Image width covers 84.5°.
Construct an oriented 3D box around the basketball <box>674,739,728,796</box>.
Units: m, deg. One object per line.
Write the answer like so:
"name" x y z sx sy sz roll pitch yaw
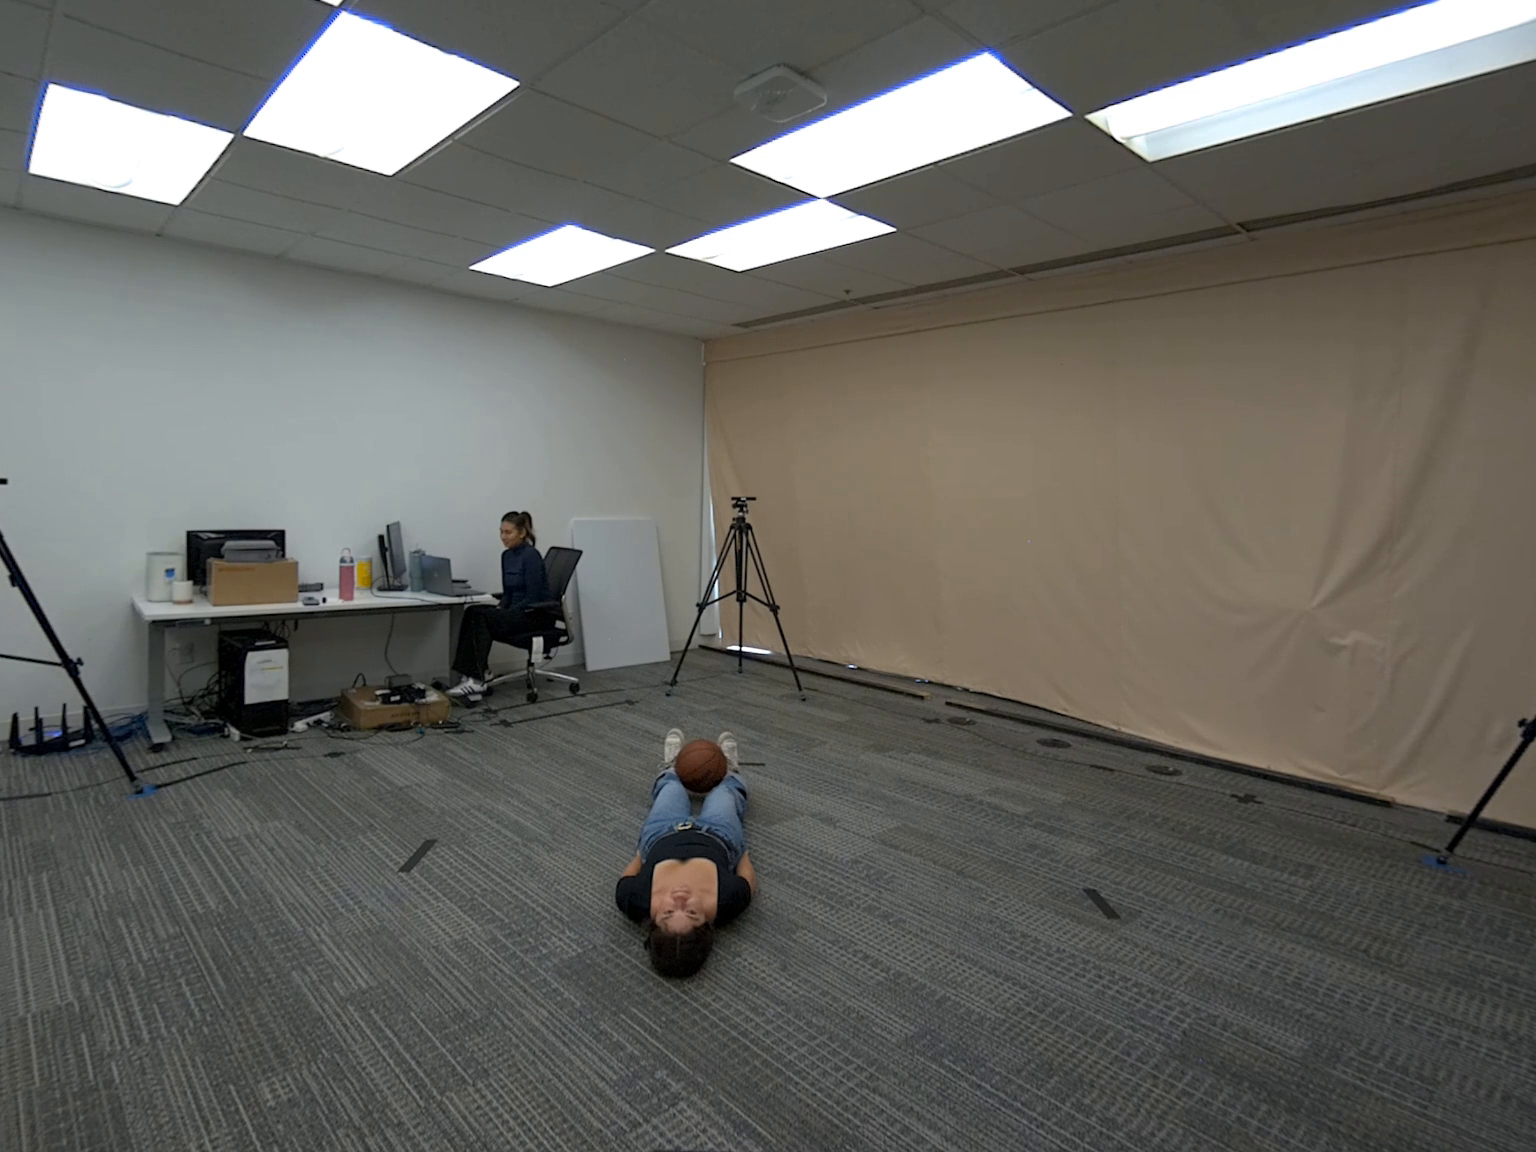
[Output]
"basketball" -0.320 0.871 3.876 0.236 0.235 0.237 1 4 -1
